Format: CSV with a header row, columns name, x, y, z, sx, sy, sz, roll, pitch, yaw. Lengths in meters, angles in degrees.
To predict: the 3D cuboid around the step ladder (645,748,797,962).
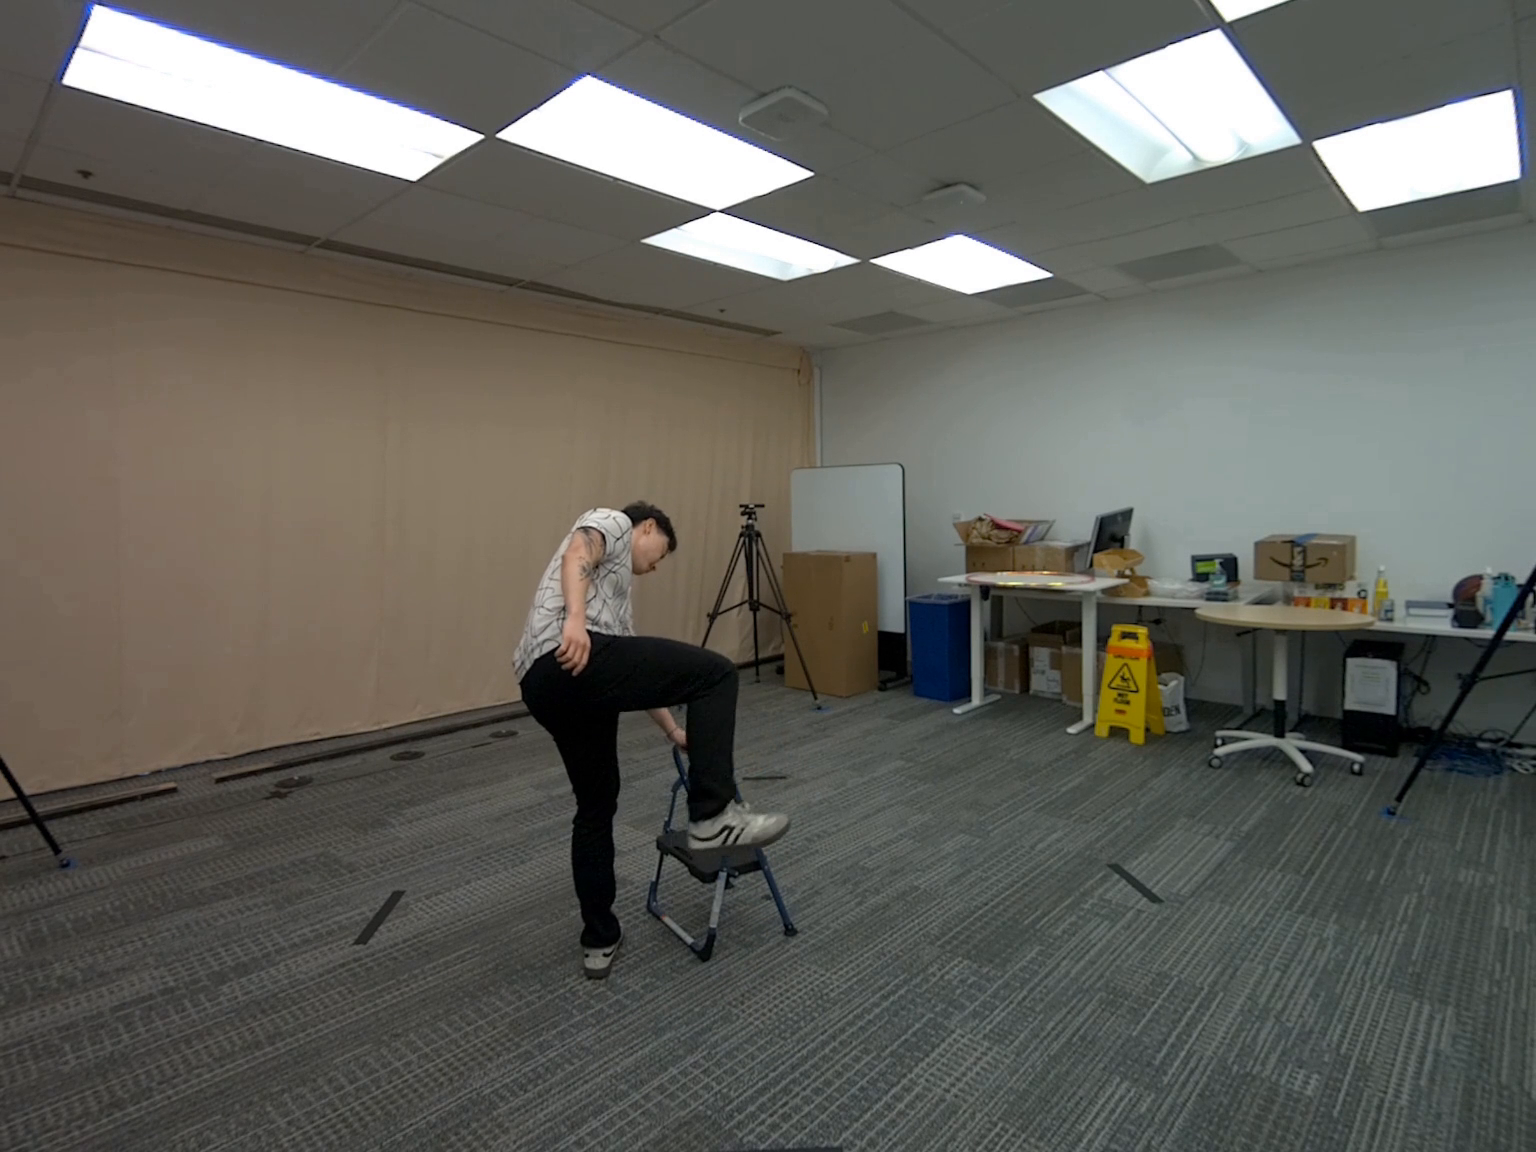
name,x,y,z,sx,sy,sz,roll,pitch,yaw
step ladder,-0.171,0.851,2.808,0.340,0.604,0.444,-4,5,-33
